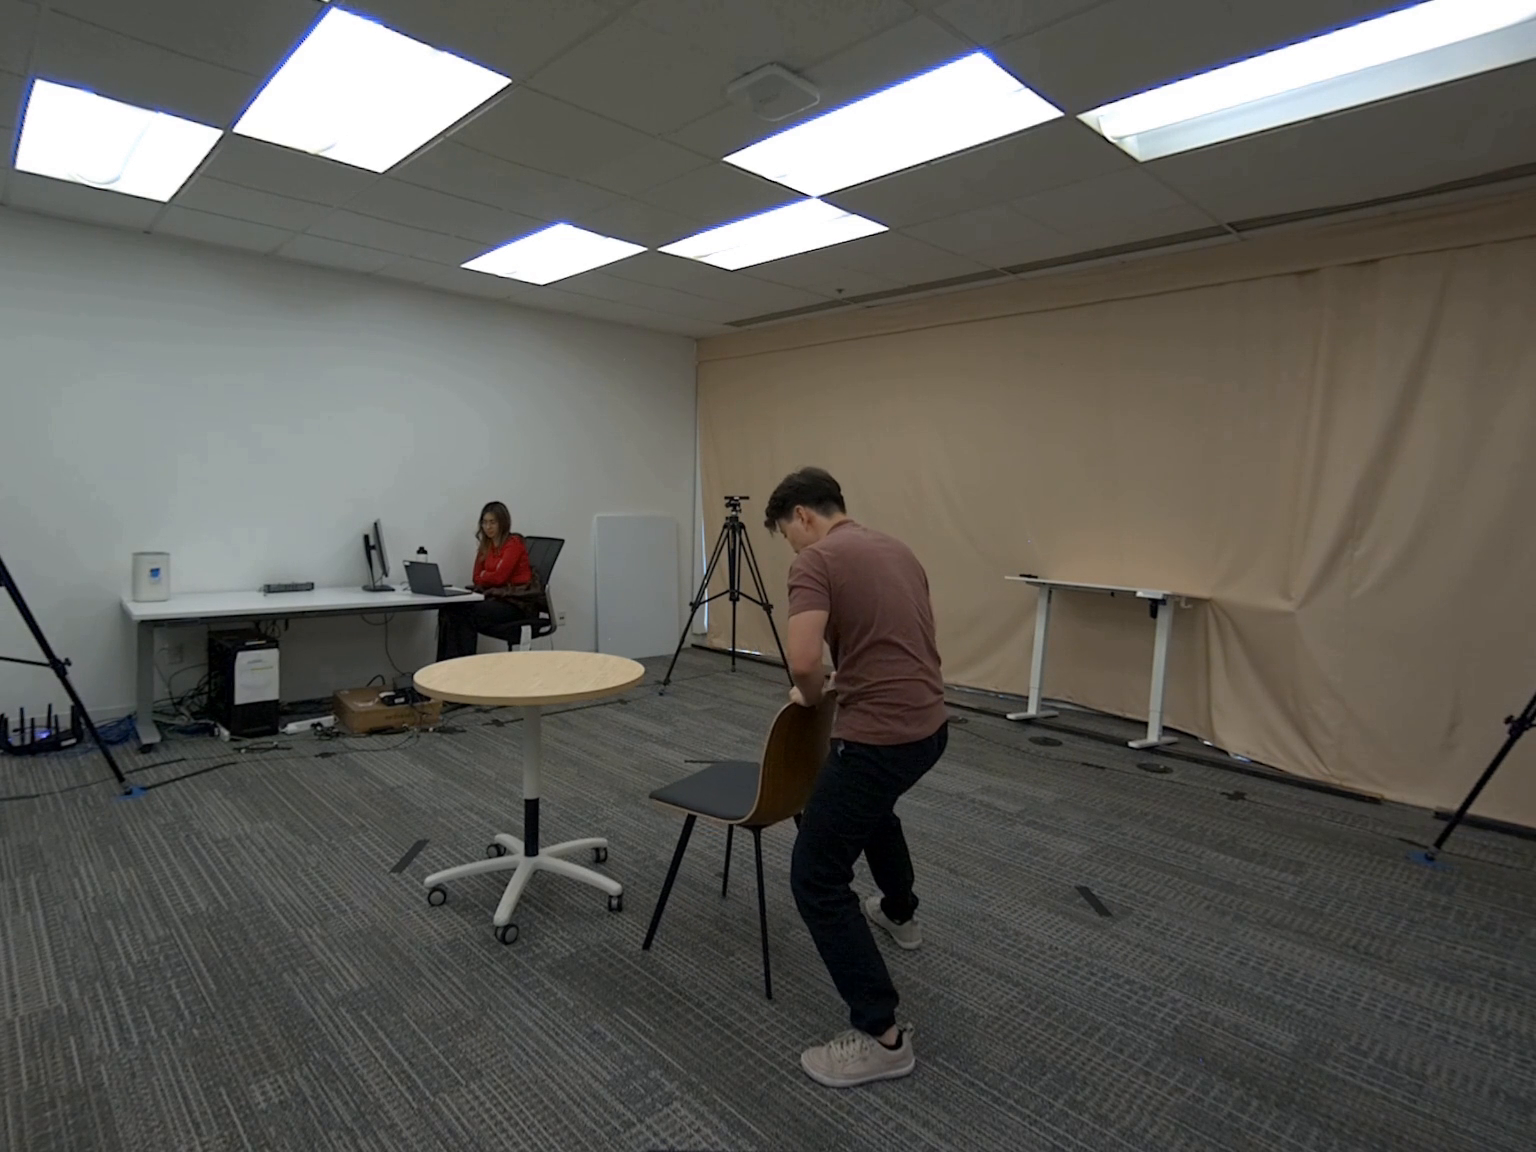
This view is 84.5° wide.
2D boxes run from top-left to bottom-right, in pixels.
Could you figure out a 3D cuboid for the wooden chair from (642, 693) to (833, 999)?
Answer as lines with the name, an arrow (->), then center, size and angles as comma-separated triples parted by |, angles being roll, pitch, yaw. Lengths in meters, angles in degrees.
wooden chair -> -0.077, 0.721, 2.615 | 0.536, 0.874, 0.468 | 9, 7, 31
